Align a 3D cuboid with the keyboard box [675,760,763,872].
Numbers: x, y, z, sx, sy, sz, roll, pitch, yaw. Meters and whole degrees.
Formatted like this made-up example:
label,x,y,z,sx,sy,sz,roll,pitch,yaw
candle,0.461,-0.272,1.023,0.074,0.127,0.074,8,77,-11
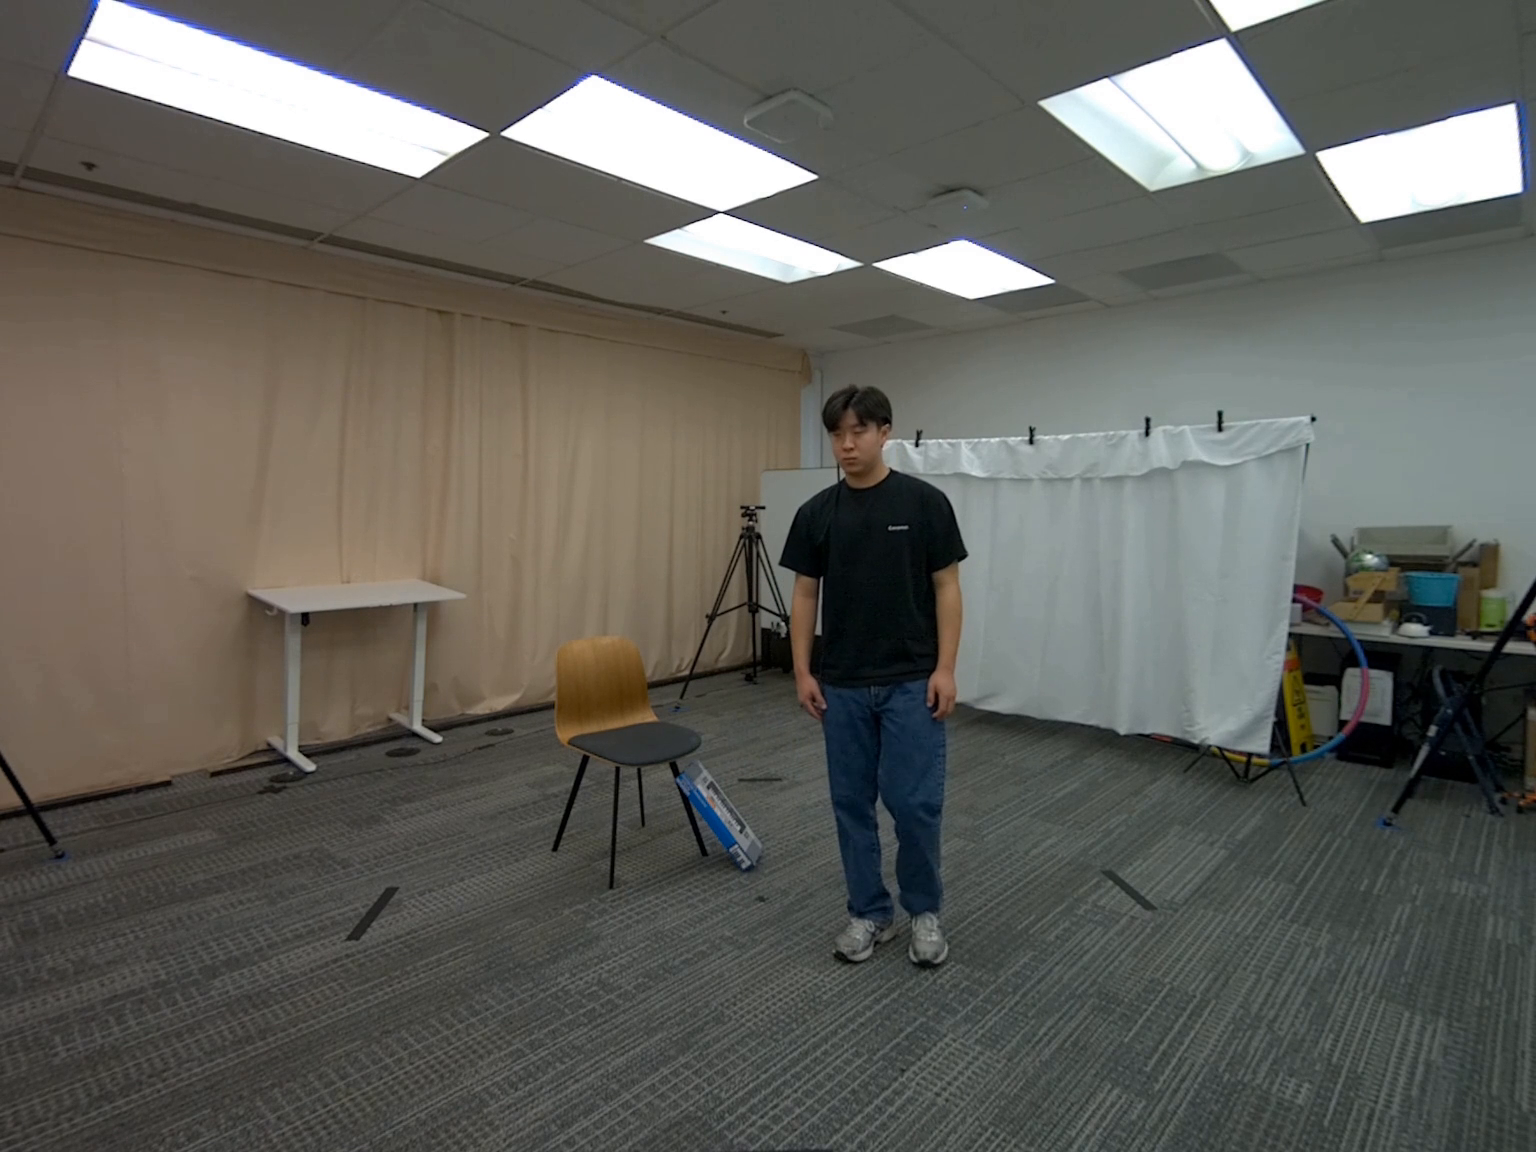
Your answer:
label,x,y,z,sx,sy,sz,roll,pitch,yaw
keyboard box,-0.186,0.941,3.306,0.059,0.440,0.173,-39,-7,12
